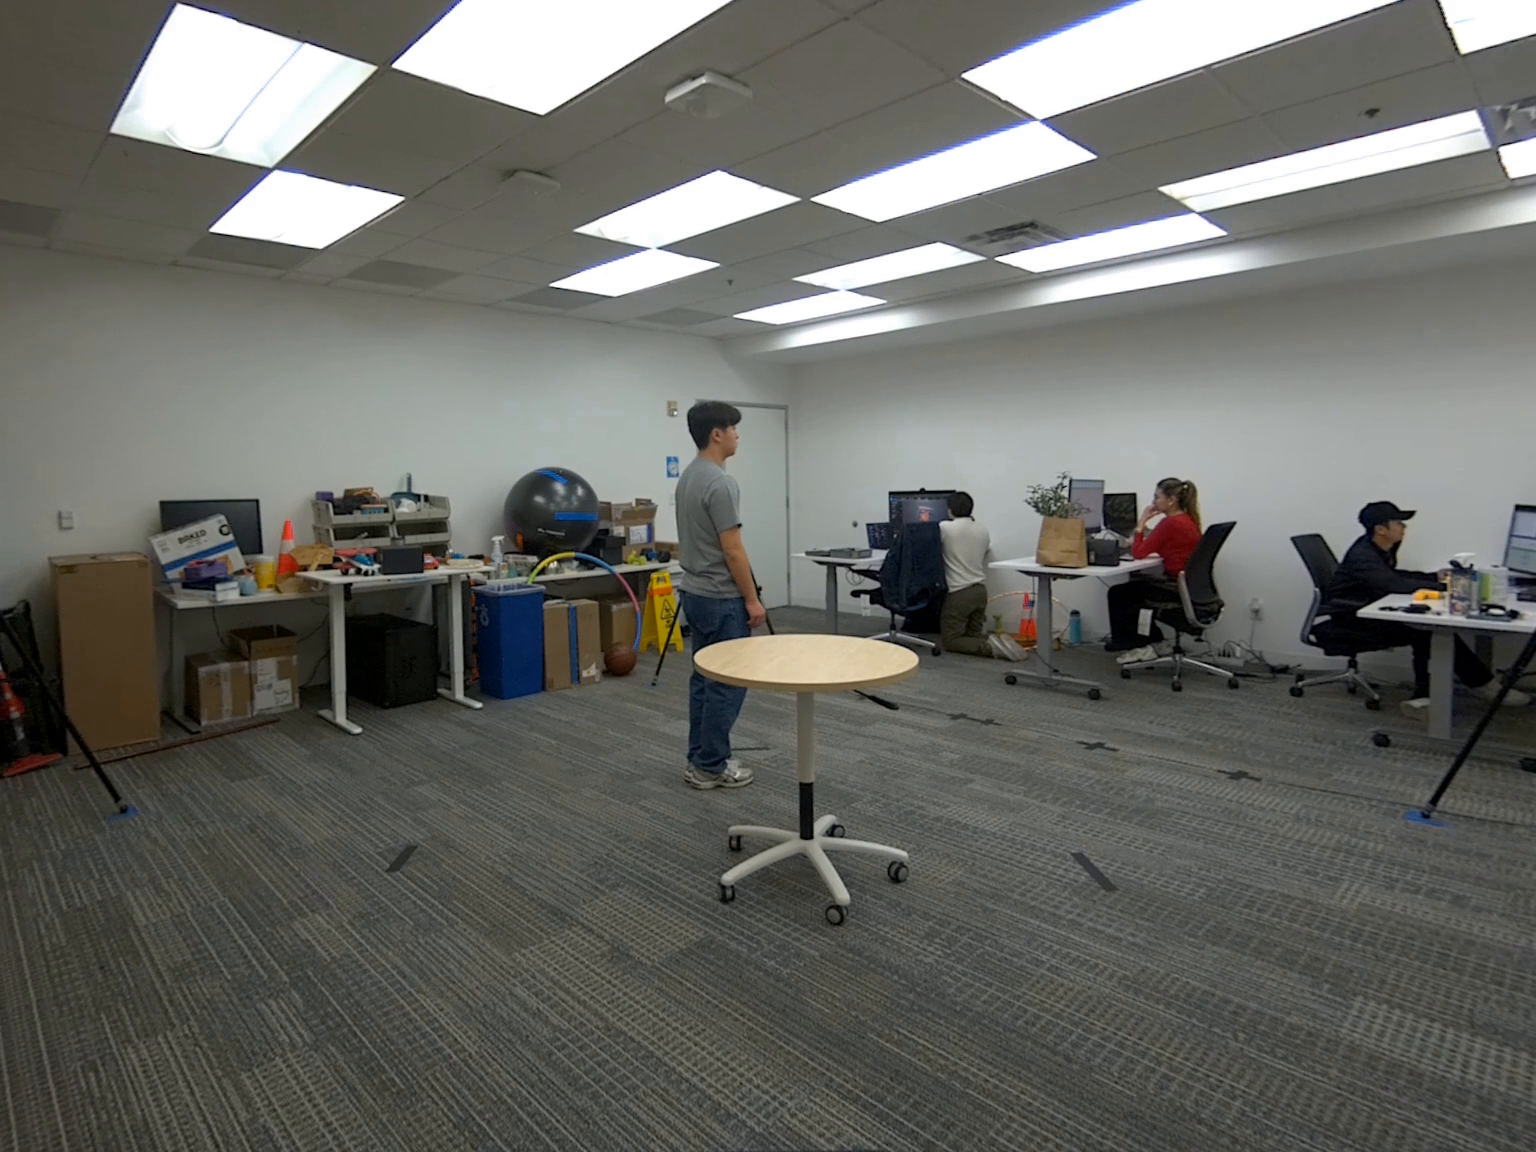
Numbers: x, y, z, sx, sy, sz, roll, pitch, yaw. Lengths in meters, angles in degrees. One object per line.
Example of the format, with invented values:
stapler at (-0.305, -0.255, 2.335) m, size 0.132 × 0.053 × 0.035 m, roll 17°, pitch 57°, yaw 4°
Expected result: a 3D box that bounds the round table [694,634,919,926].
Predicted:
round table at (0.134, 0.668, 2.970) m, size 0.763 × 0.791 × 0.768 m, roll -1°, pitch 5°, yaw -2°
